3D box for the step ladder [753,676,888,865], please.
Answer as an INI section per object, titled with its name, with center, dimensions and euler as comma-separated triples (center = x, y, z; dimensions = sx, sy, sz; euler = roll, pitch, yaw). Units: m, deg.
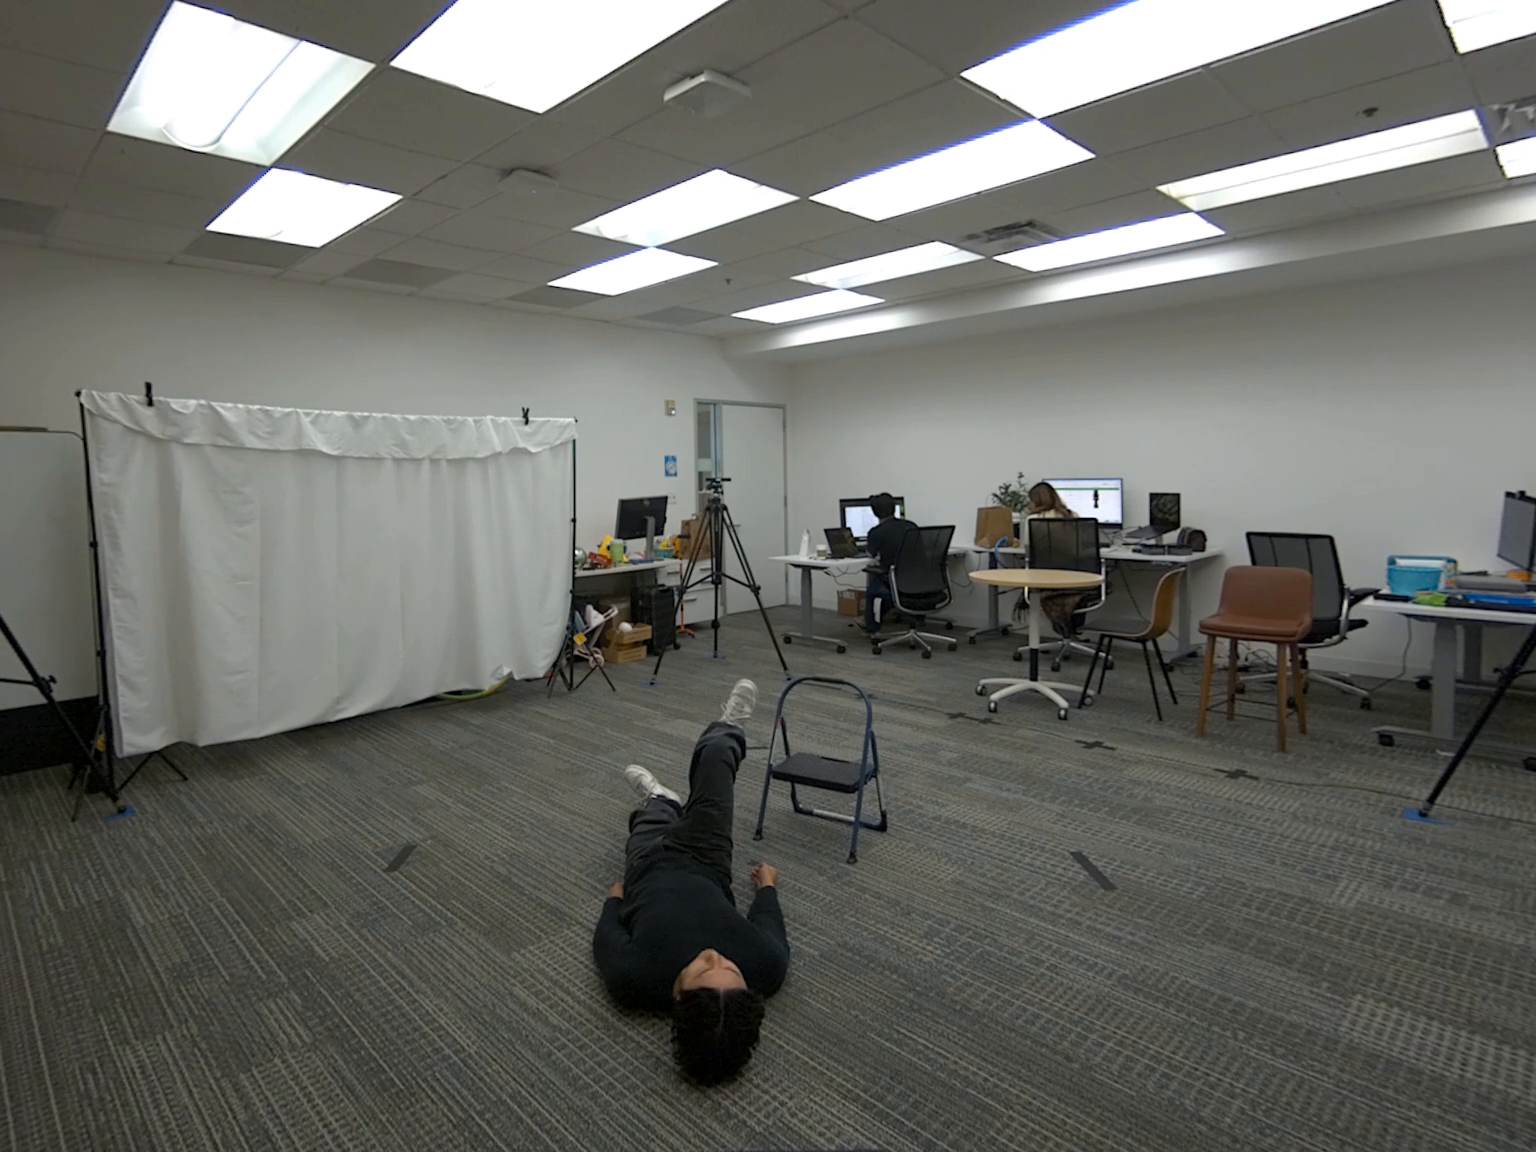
[step ladder]
center = 0.209, 0.709, 3.321
dimensions = 0.442, 0.604, 0.341
euler = 2, 5, 32
